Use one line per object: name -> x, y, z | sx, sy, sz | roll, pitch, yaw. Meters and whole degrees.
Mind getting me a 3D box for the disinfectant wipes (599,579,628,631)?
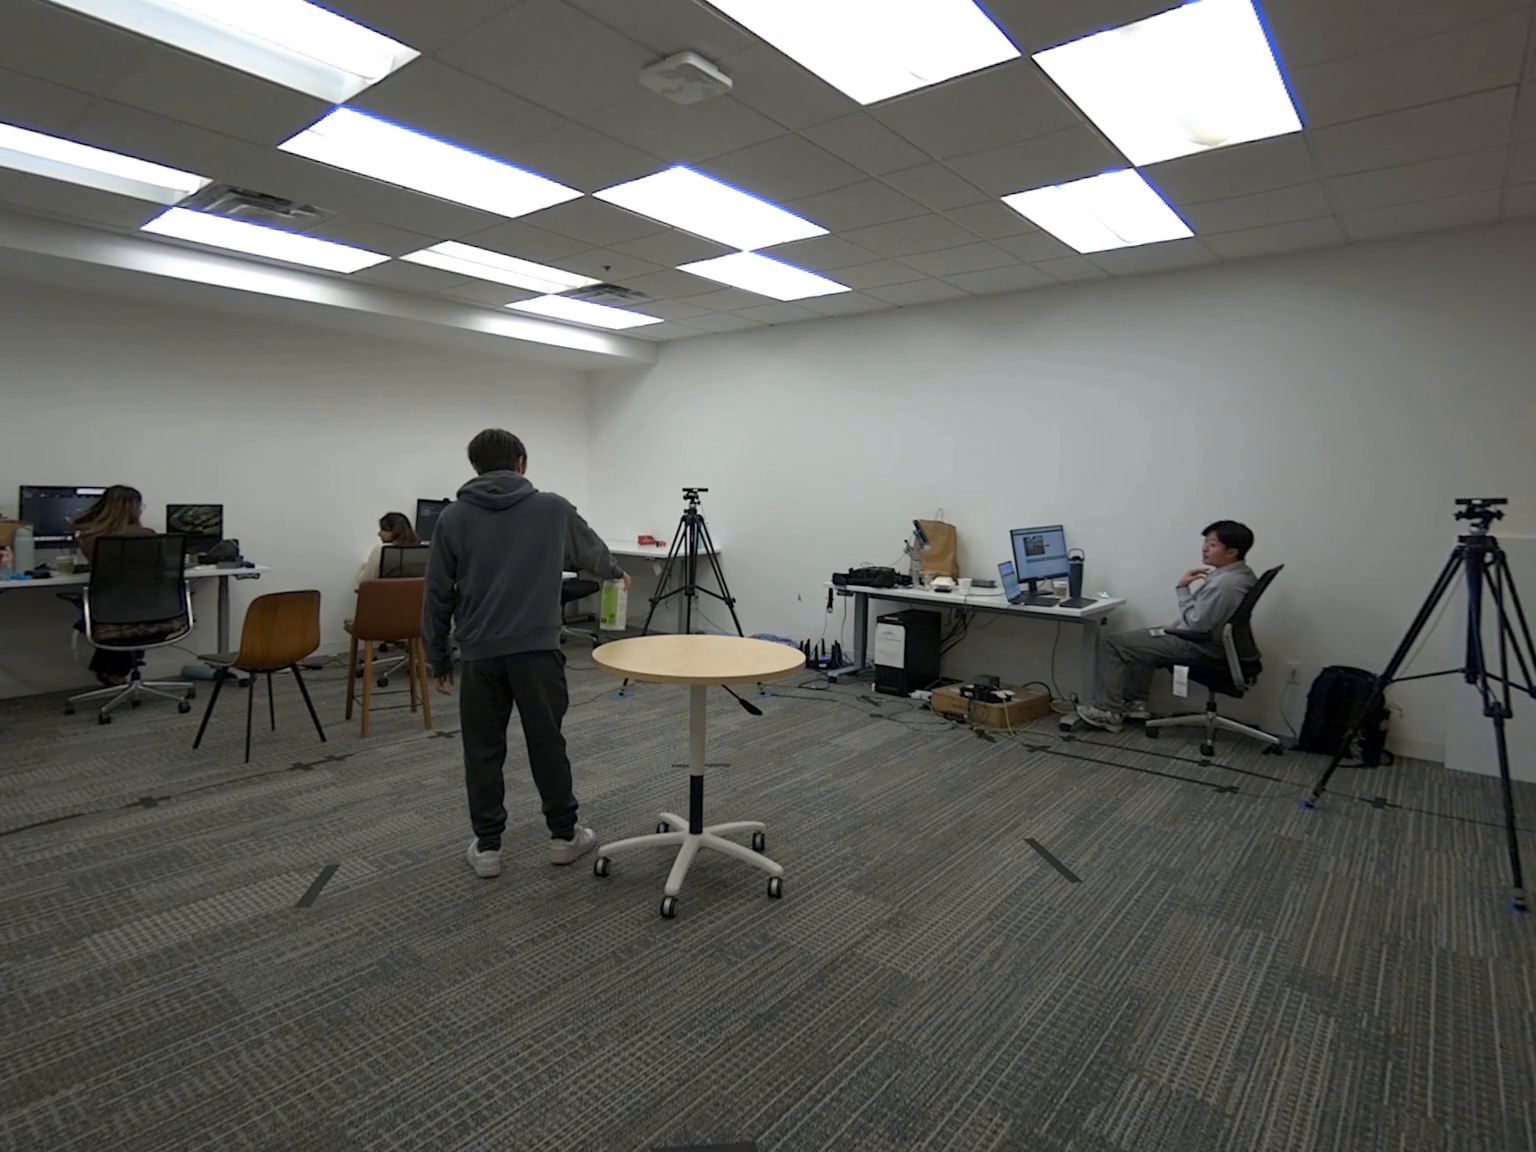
disinfectant wipes -> -0.676, 0.123, 3.662 | 0.118, 0.217, 0.118 | 3, 0, -2
